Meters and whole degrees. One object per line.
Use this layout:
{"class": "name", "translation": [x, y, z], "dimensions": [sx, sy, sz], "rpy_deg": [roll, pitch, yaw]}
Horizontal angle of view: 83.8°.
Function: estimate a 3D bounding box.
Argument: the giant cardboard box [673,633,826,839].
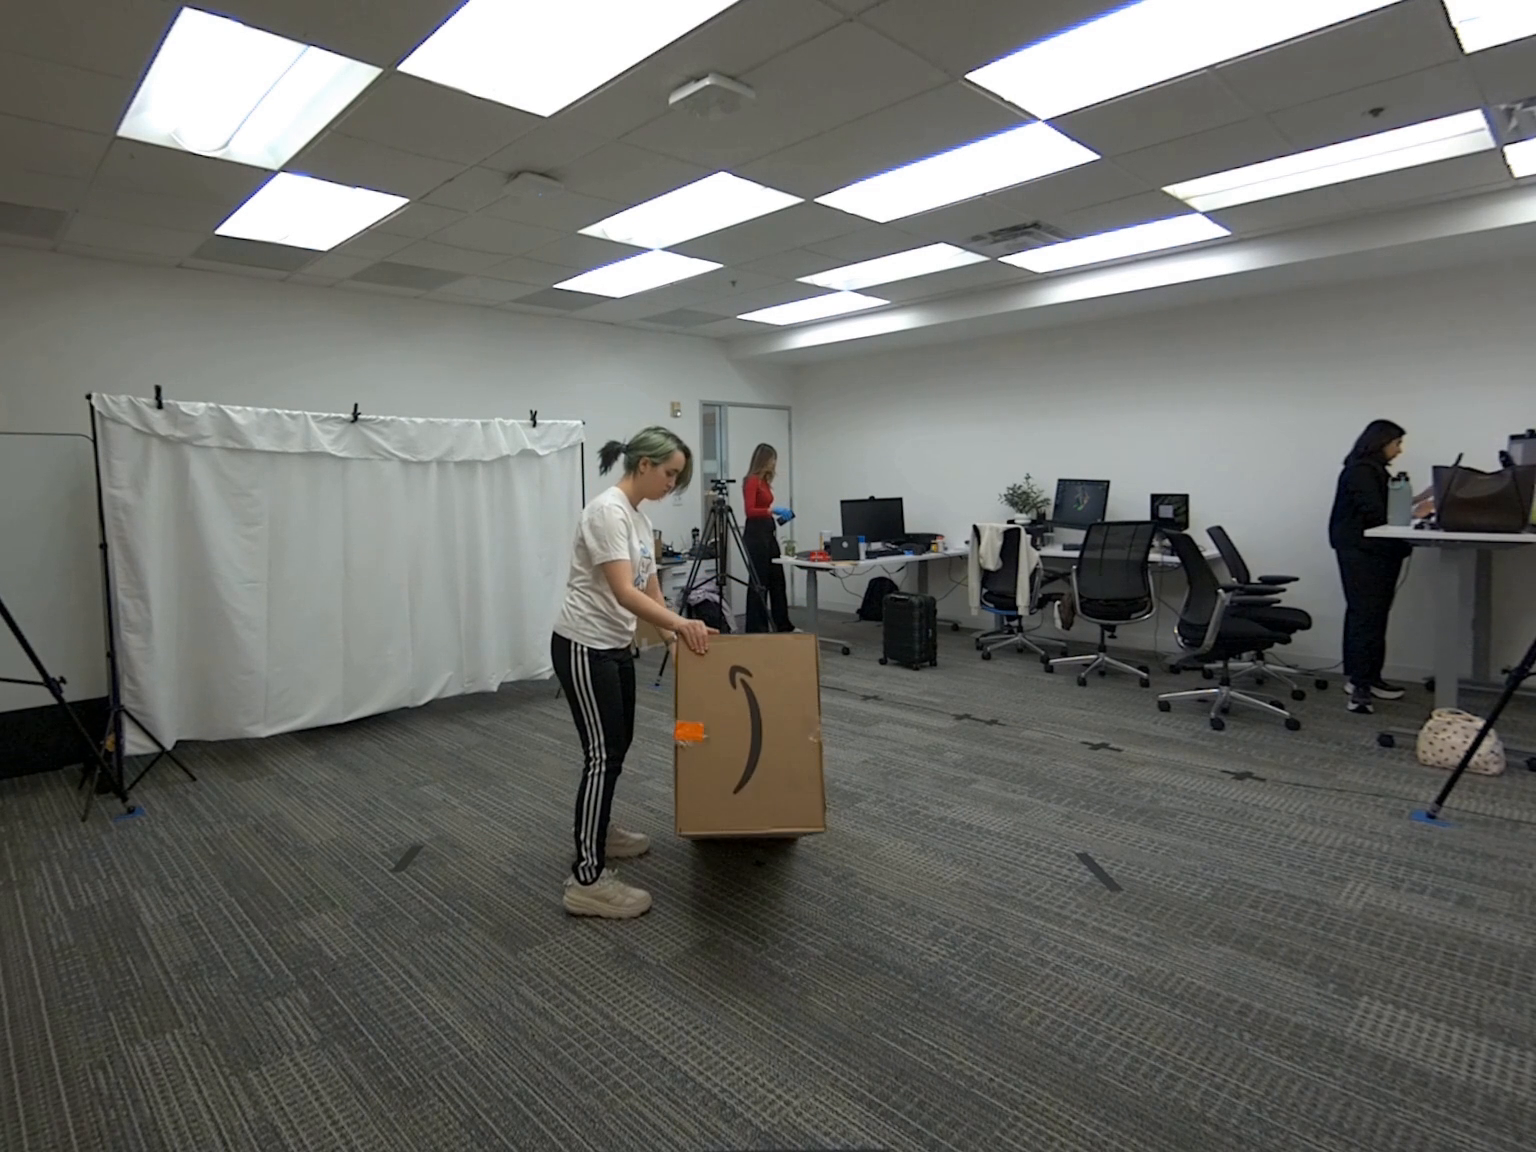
{"class": "giant cardboard box", "translation": [-0.076, 0.605, 2.951], "dimensions": [0.426, 0.588, 1.009], "rpy_deg": [-1, -19, -2]}
